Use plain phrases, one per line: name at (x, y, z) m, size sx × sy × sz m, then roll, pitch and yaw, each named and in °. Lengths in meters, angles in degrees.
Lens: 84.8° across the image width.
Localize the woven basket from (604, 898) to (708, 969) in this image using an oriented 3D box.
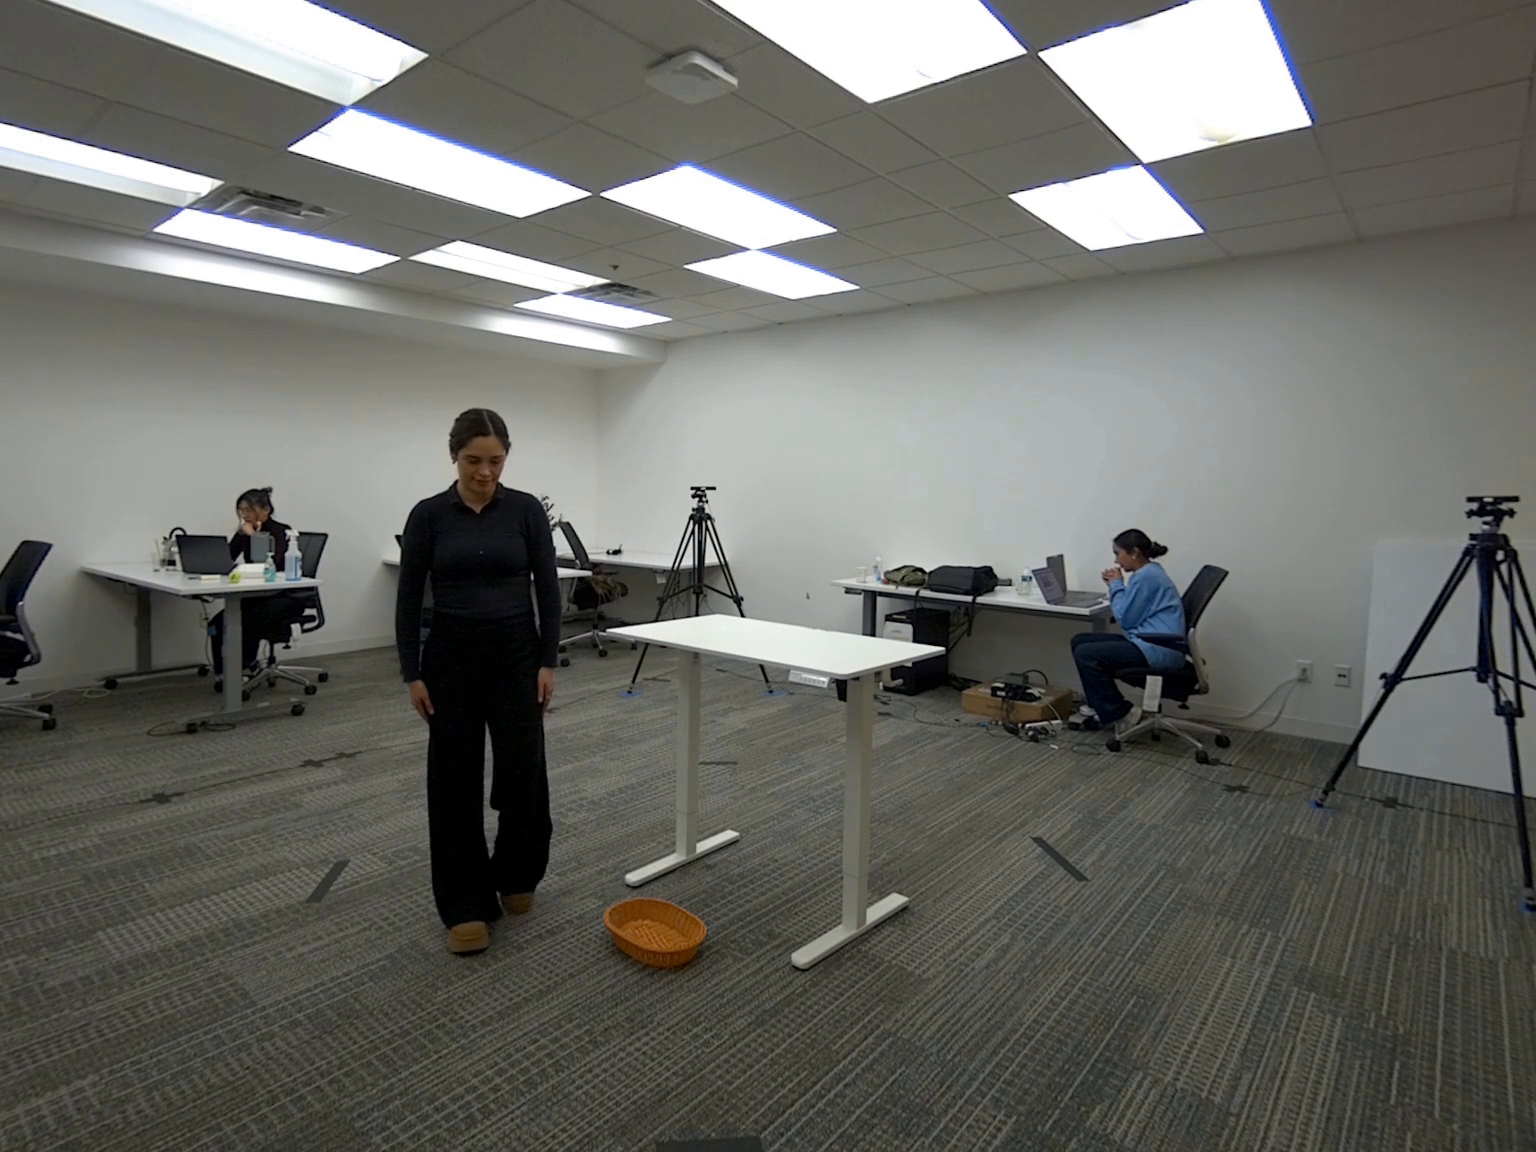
woven basket at (-0.354, 1.071, 2.572) m, size 0.245 × 0.073 × 0.362 m, roll -3°, pitch 7°, yaw -41°
